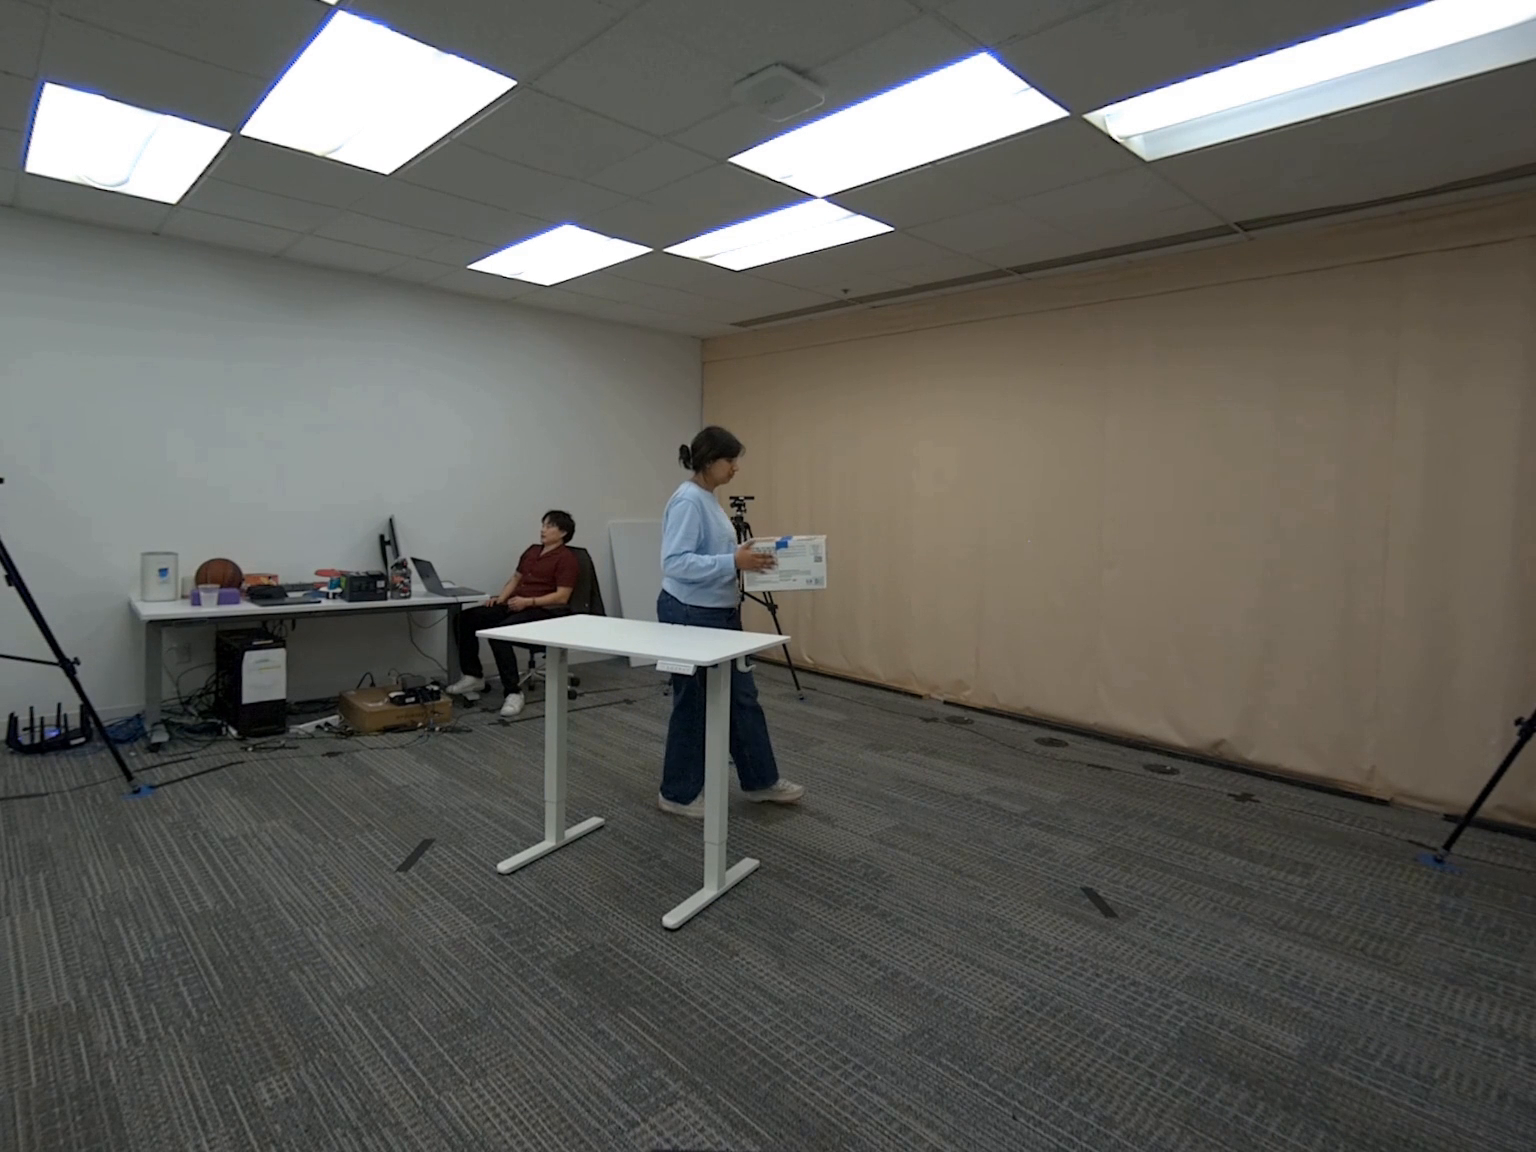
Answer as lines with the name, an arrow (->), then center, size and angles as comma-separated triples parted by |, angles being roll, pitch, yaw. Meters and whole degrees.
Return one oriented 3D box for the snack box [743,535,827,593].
snack box -> 0.073, -0.060, 3.621 | 0.342, 0.205, 0.404 | -3, 4, 7
